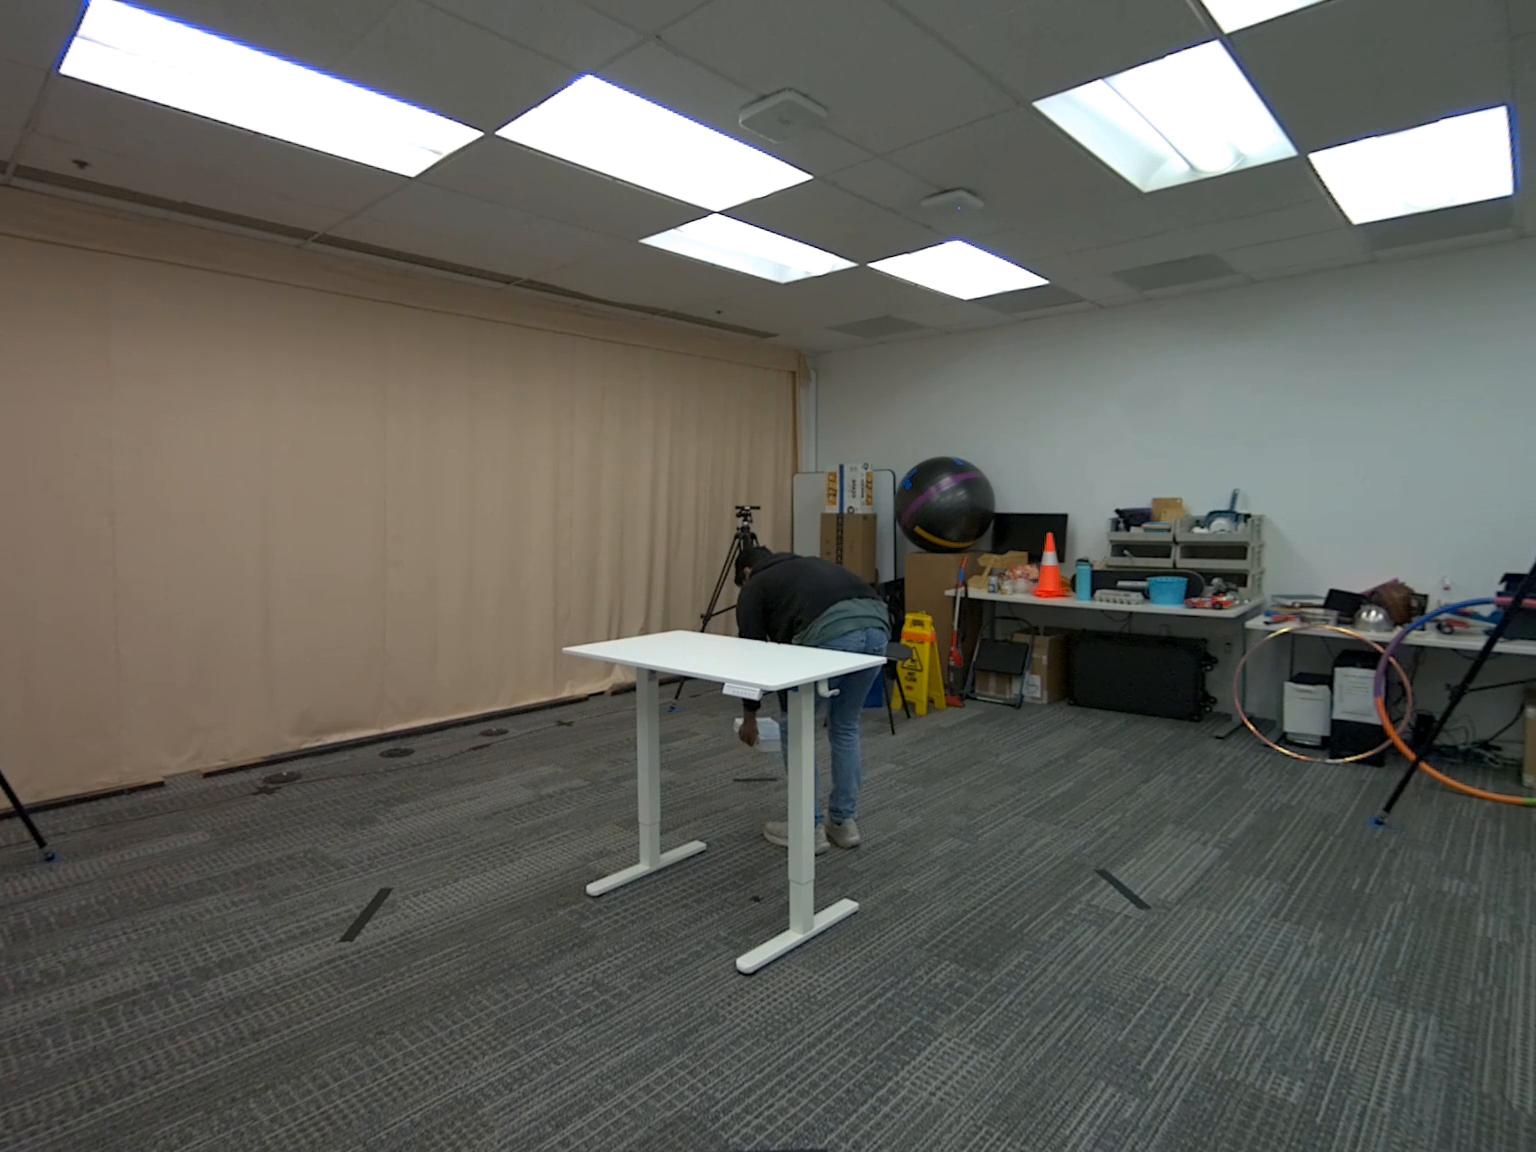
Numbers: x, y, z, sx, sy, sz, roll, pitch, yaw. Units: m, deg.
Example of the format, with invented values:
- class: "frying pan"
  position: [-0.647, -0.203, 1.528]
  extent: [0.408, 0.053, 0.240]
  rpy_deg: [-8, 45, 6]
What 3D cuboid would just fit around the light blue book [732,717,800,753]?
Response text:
- class: "light blue book"
  position: [-0.013, 0.713, 3.824]
  extent: [0.186, 0.059, 0.269]
  rpy_deg: [3, 9, -29]
